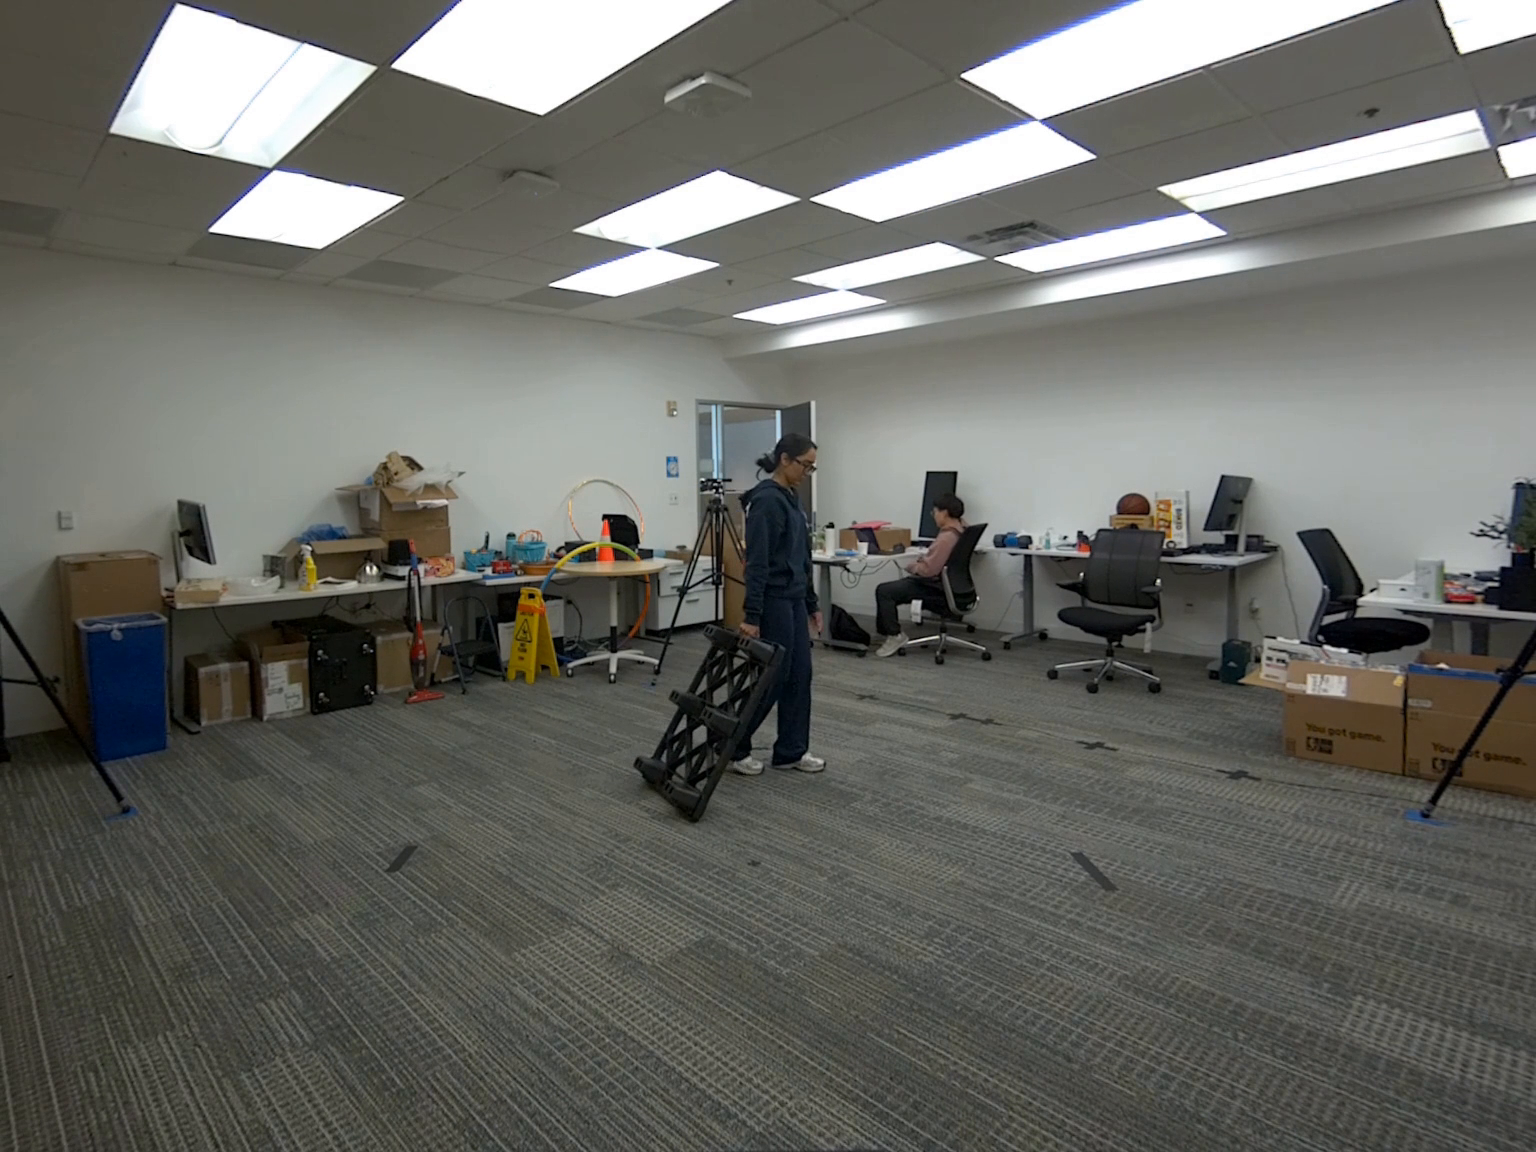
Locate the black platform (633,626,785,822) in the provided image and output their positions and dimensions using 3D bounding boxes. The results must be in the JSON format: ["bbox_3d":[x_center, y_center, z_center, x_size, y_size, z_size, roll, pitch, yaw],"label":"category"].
[{"bbox_3d":[-0.291,0.605,3.787,0.139,0.808,0.620,33,-12,-25],"label":"black platform"}]
